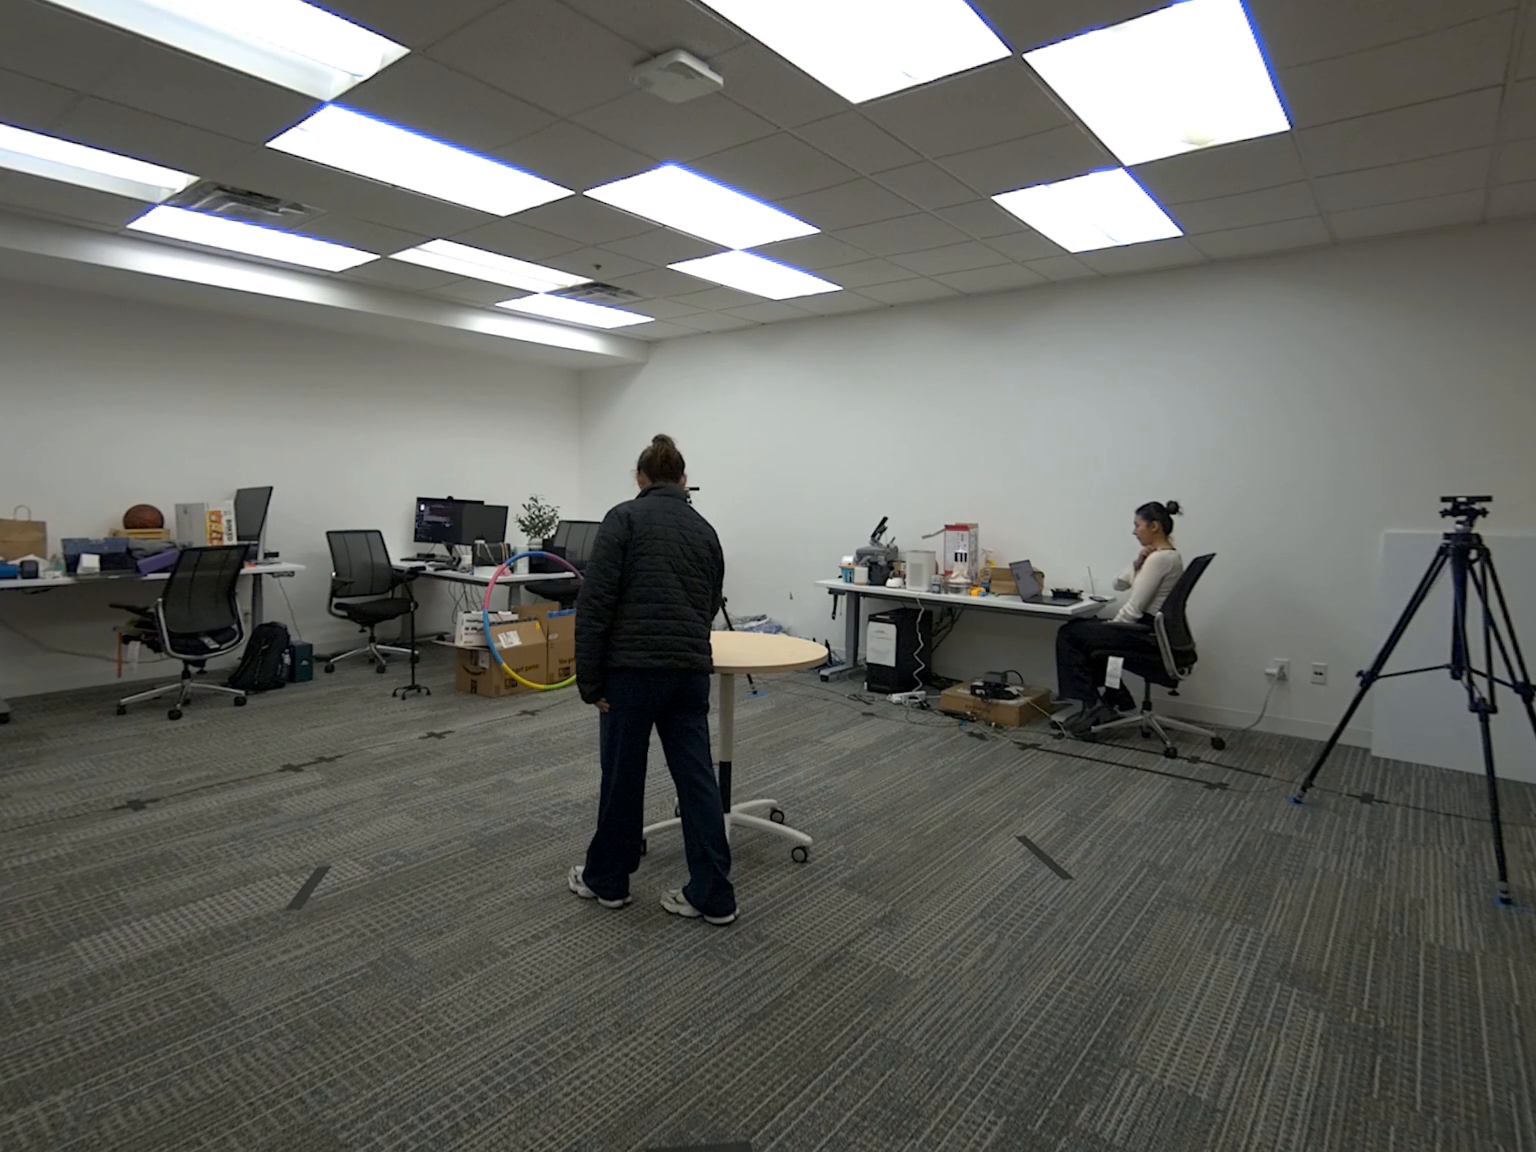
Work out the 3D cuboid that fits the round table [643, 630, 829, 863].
[{"bbox_3d":[-0.135,0.657,3.287,0.784,0.784,0.789,1,4,-2],"label":"round table"}]
